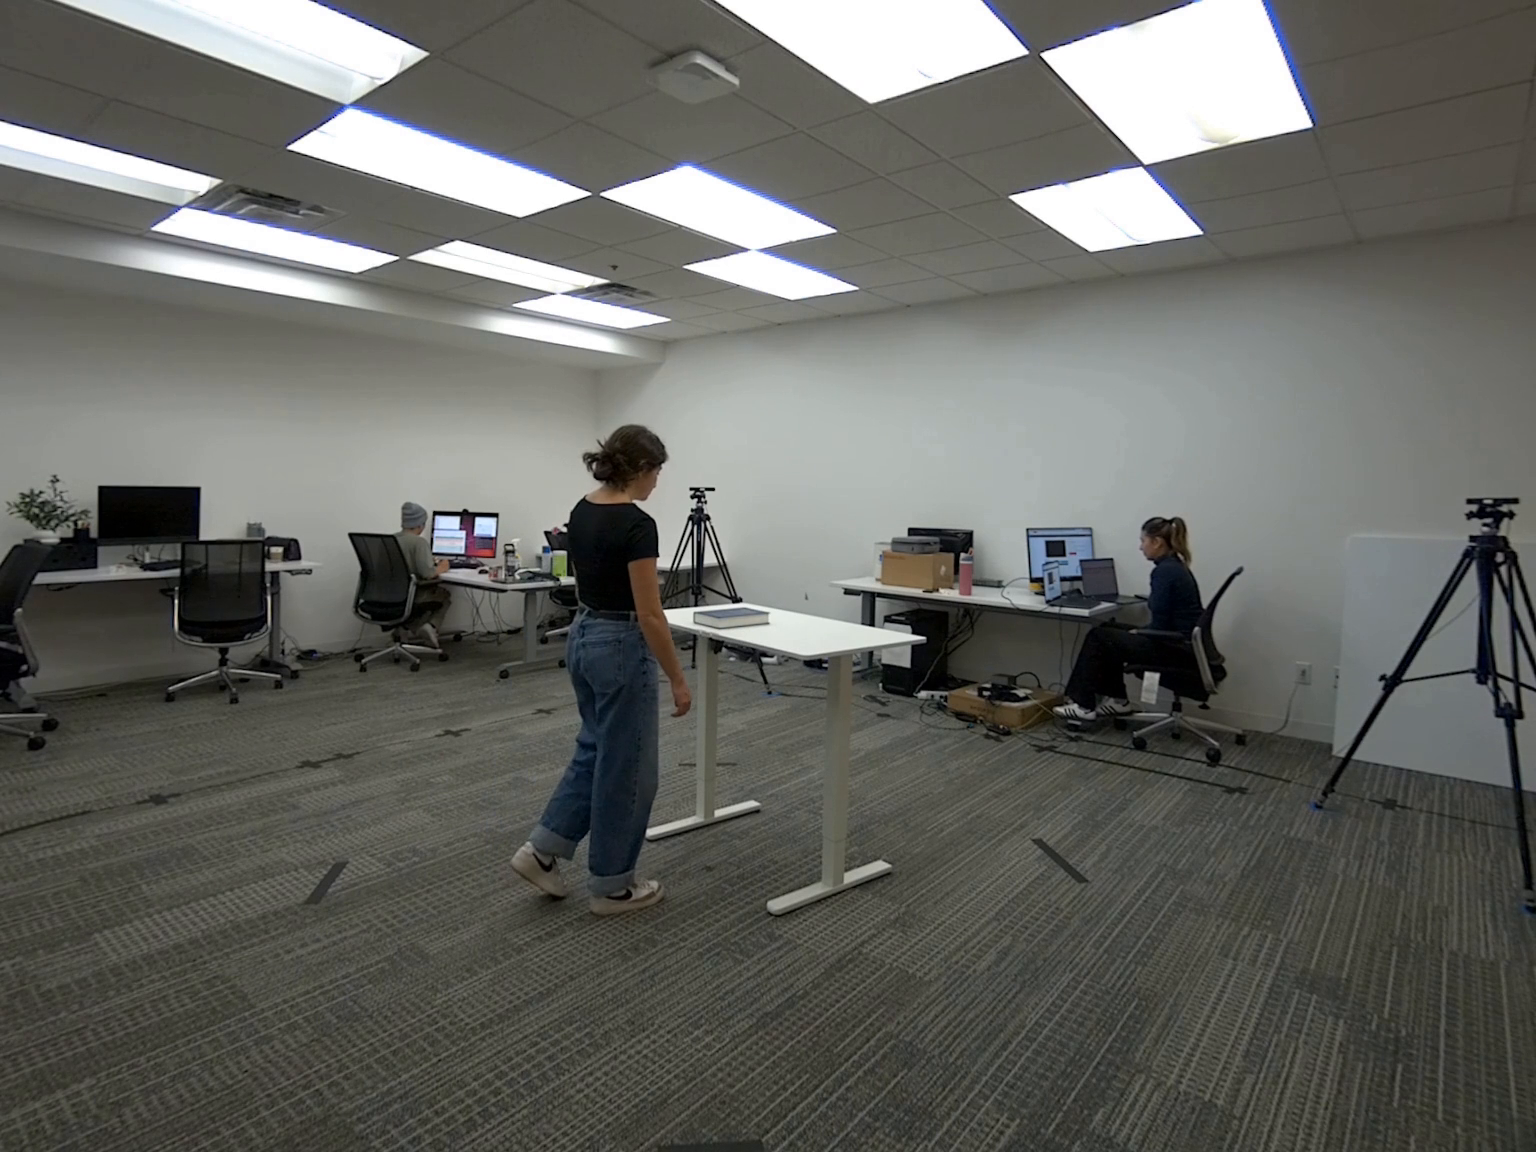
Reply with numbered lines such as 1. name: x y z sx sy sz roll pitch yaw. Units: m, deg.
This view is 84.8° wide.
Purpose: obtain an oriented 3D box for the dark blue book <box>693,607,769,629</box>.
1. dark blue book: -0.152 0.157 3.199 0.238 0.045 0.169 -3 7 -39
